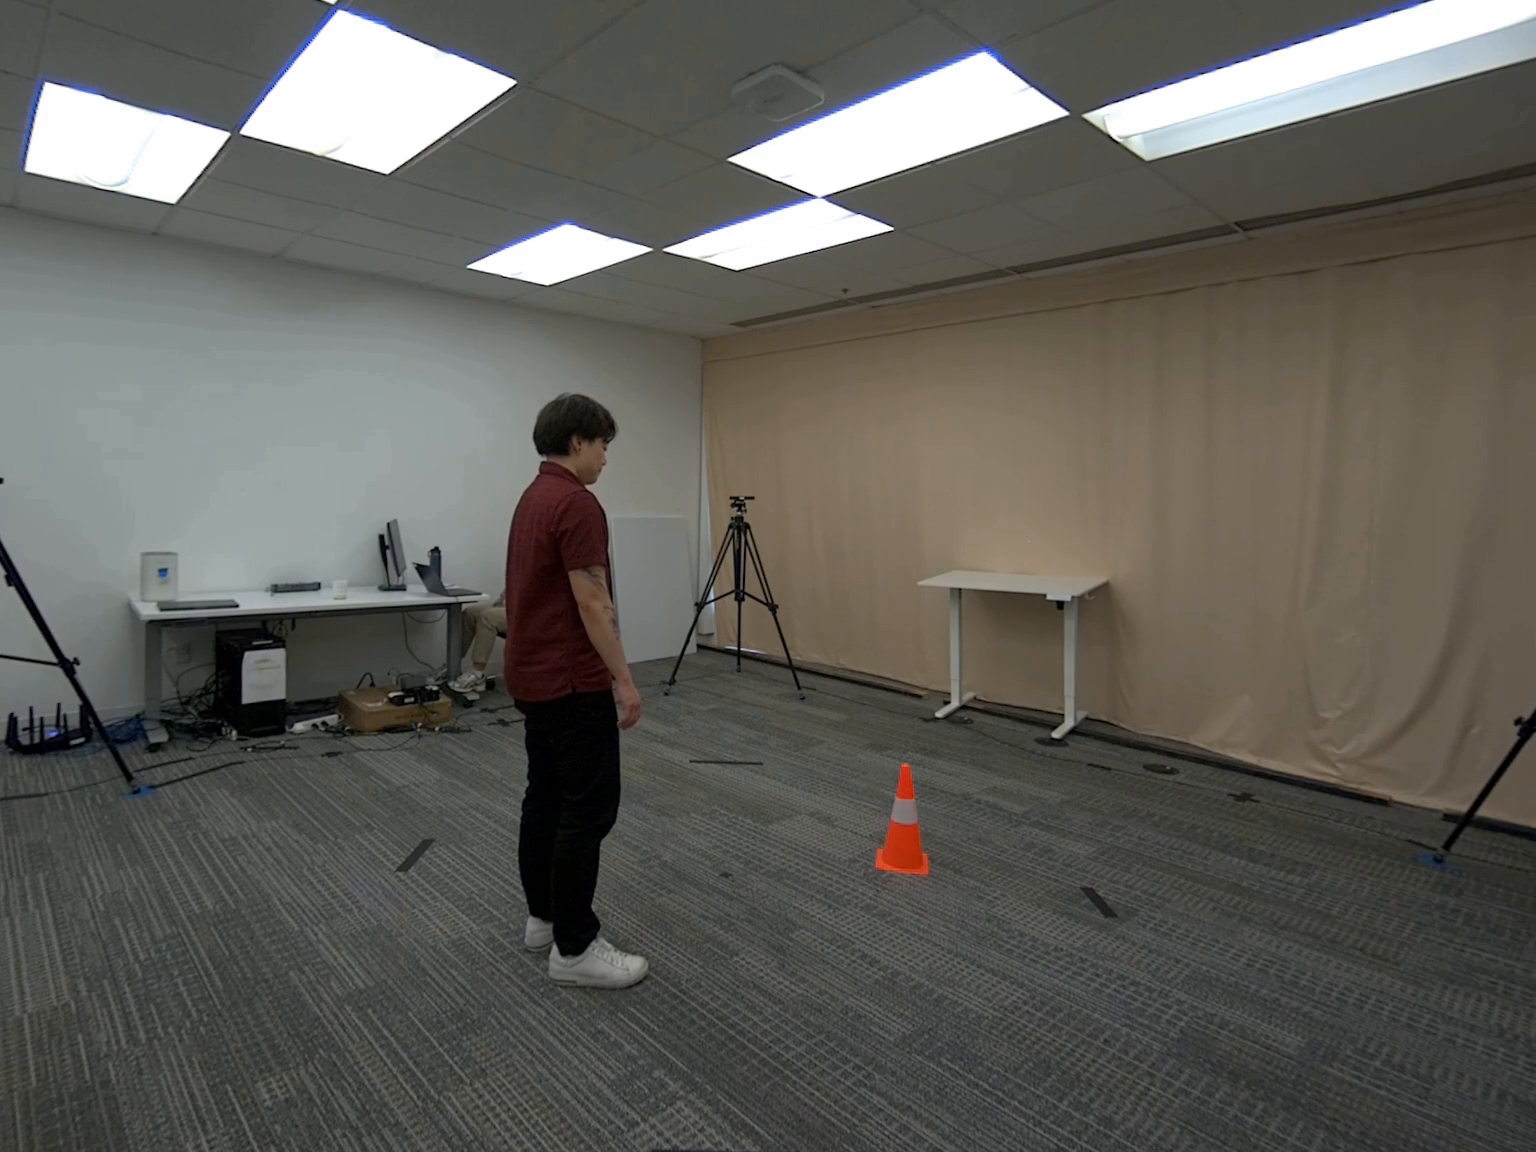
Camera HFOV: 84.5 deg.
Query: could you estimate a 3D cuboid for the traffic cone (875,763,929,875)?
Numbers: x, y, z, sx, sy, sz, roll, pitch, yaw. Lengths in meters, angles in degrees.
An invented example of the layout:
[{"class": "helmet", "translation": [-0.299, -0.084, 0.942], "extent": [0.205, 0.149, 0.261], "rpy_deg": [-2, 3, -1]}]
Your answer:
[{"class": "traffic cone", "translation": [0.525, 0.921, 3.260], "extent": [0.206, 0.383, 0.203], "rpy_deg": [3, 3, 14]}]
